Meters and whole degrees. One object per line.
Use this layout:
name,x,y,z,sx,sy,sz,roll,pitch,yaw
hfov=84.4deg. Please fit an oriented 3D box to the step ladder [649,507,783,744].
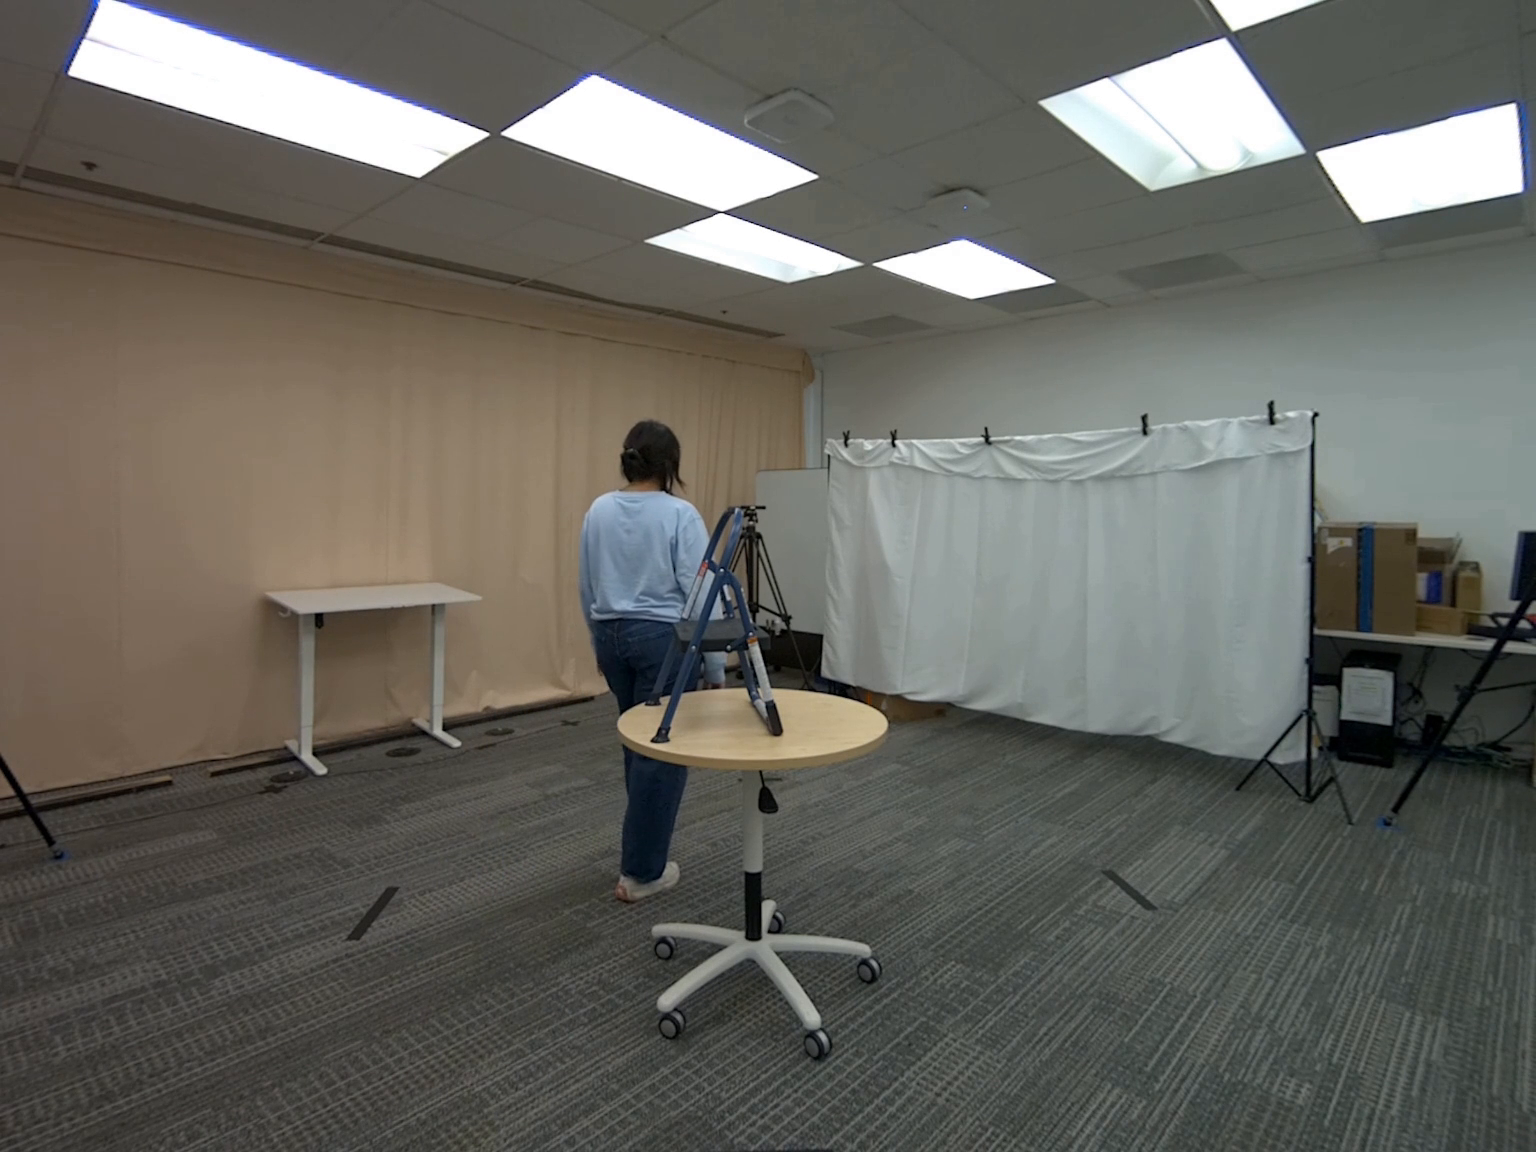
step ladder,-0.162,0.109,2.381,0.346,0.605,0.435,-3,3,-9
